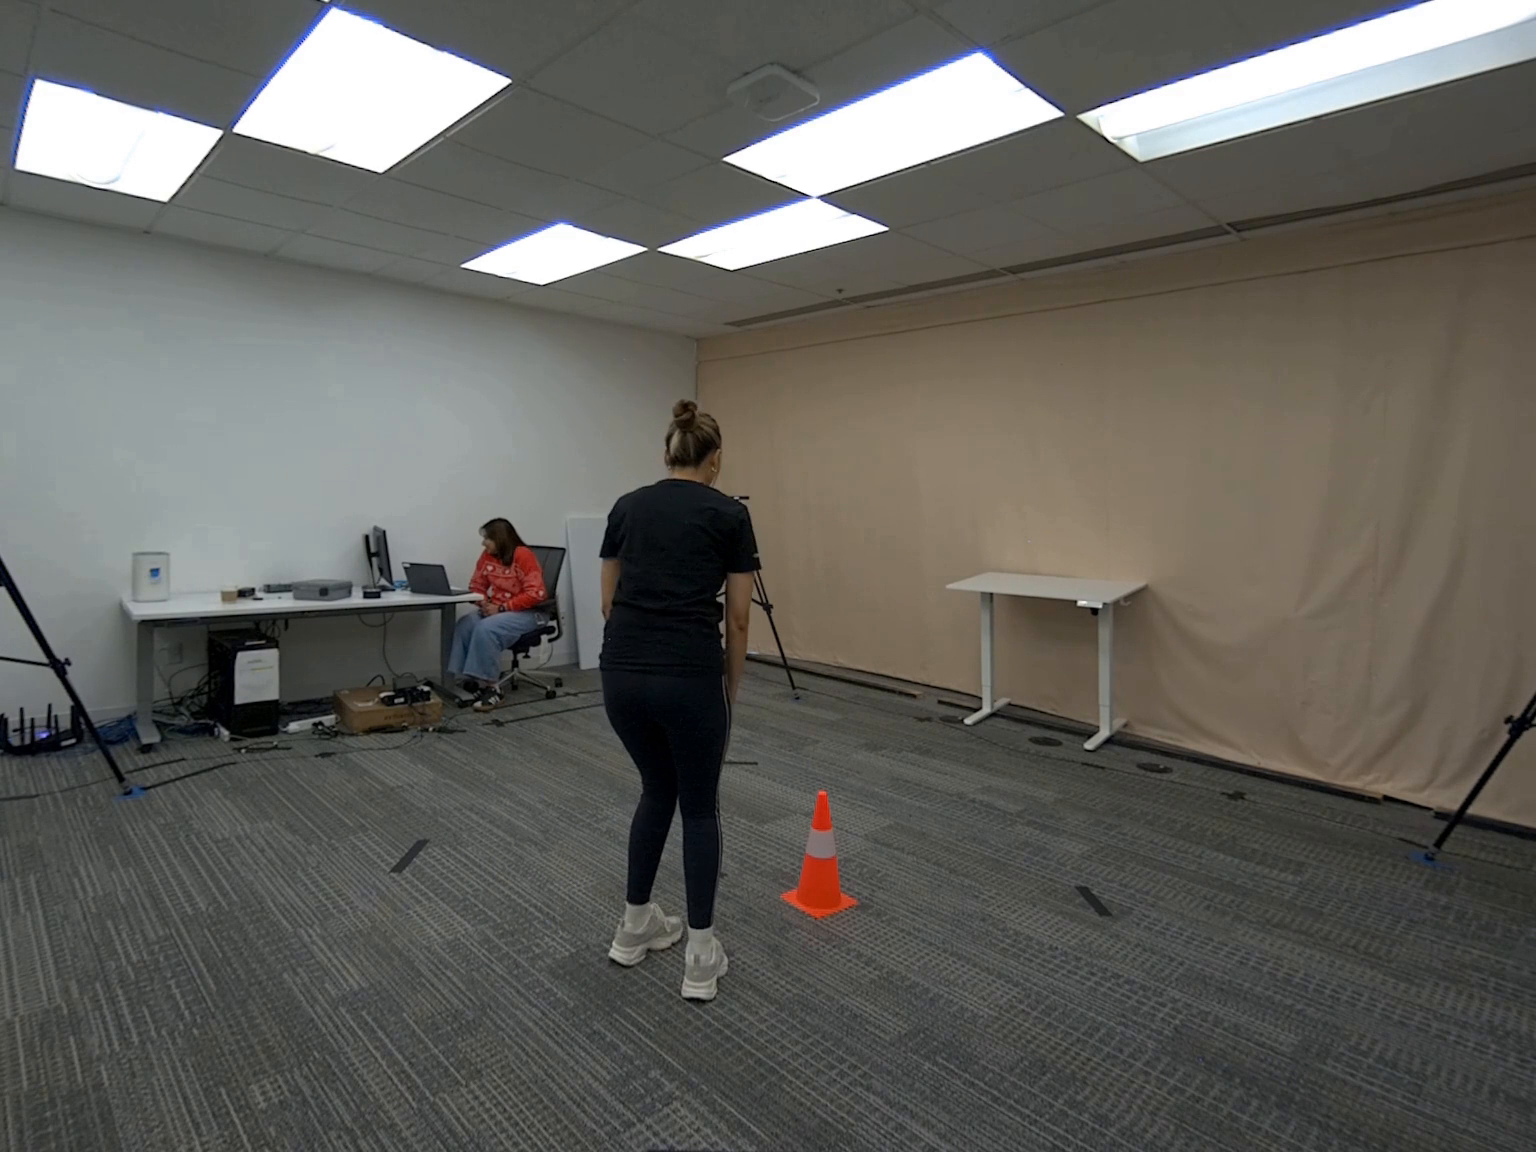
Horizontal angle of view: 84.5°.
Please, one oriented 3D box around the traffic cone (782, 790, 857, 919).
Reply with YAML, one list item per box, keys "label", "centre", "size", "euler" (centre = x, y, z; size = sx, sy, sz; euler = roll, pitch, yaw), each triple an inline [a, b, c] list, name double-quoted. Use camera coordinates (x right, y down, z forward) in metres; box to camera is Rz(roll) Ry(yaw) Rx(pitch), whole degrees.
- label: "traffic cone"
  centre: [0.176, 0.945, 2.924]
  size: [0.210, 0.383, 0.199]
  euler: [5, 5, 42]
